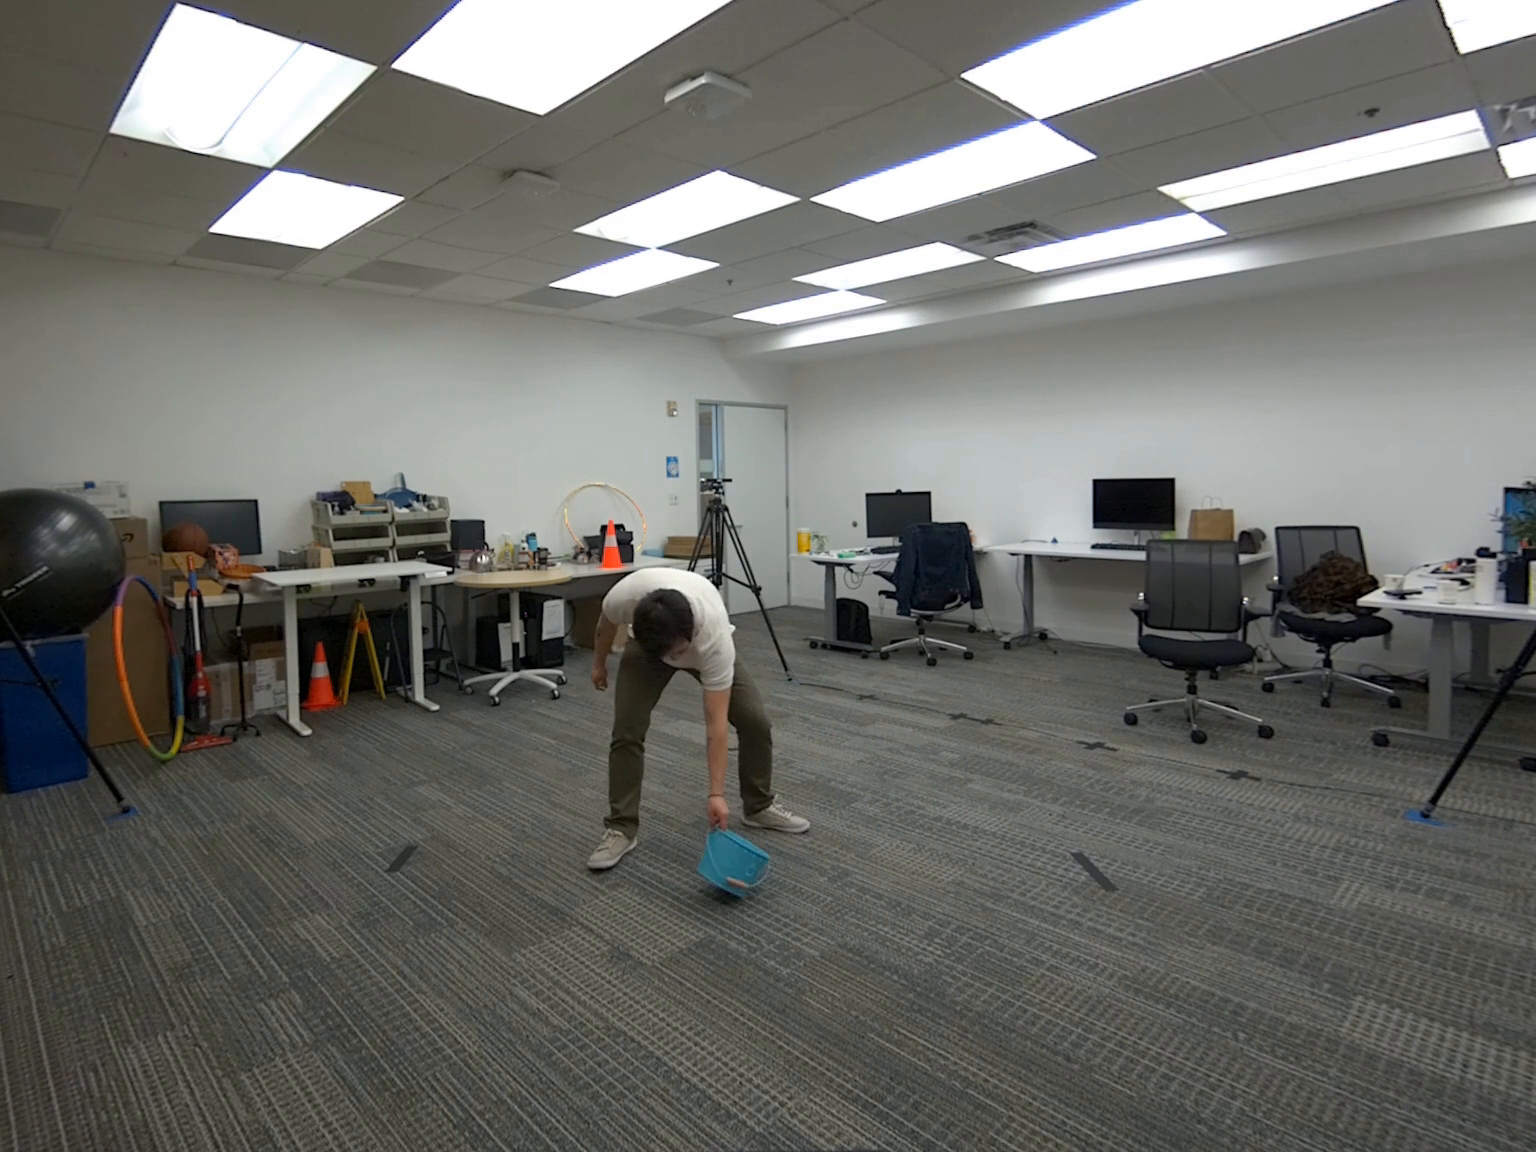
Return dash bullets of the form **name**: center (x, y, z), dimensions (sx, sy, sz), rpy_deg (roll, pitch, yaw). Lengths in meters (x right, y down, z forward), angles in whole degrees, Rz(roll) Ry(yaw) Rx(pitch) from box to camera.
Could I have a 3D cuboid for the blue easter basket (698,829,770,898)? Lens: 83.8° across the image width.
- **blue easter basket**: center (-0.115, 0.961, 2.888), dimensions (0.245, 0.156, 0.241), rpy_deg (29, -11, 4)
